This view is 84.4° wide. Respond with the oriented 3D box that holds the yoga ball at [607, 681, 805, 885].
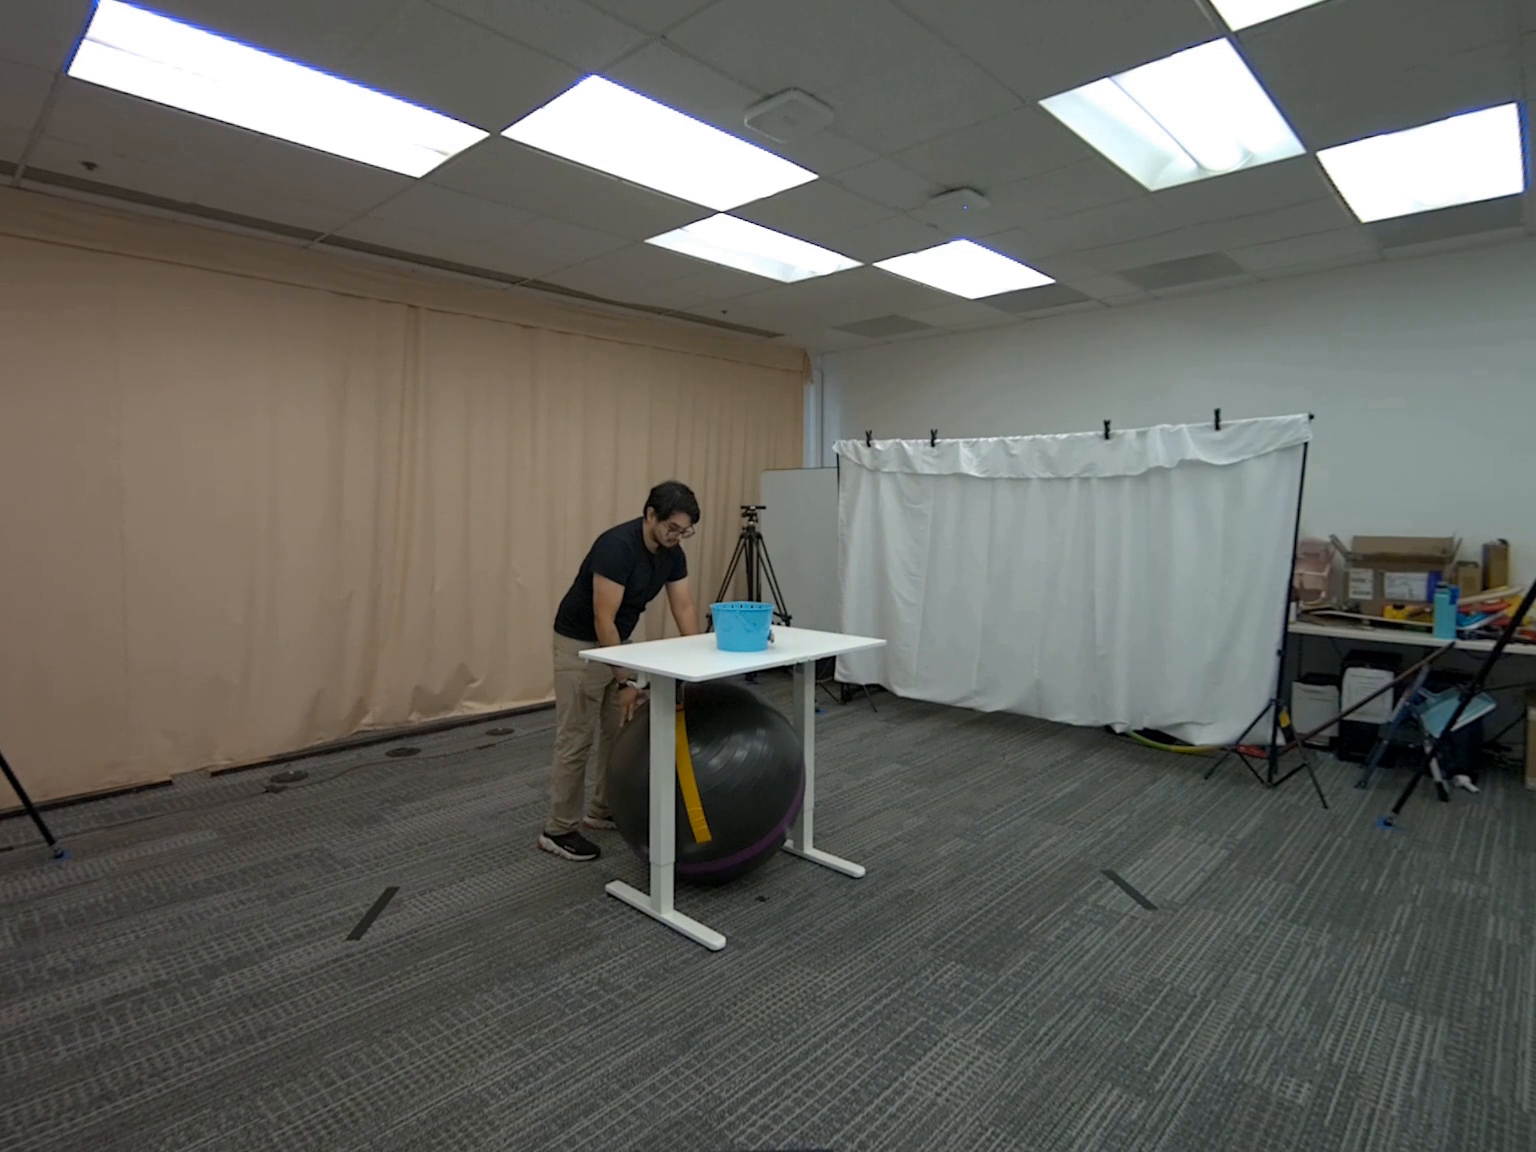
[{"bbox_3d":[-0.243,0.775,3.218,0.757,0.756,0.760,0,4,-2],"label":"yoga ball"}]
